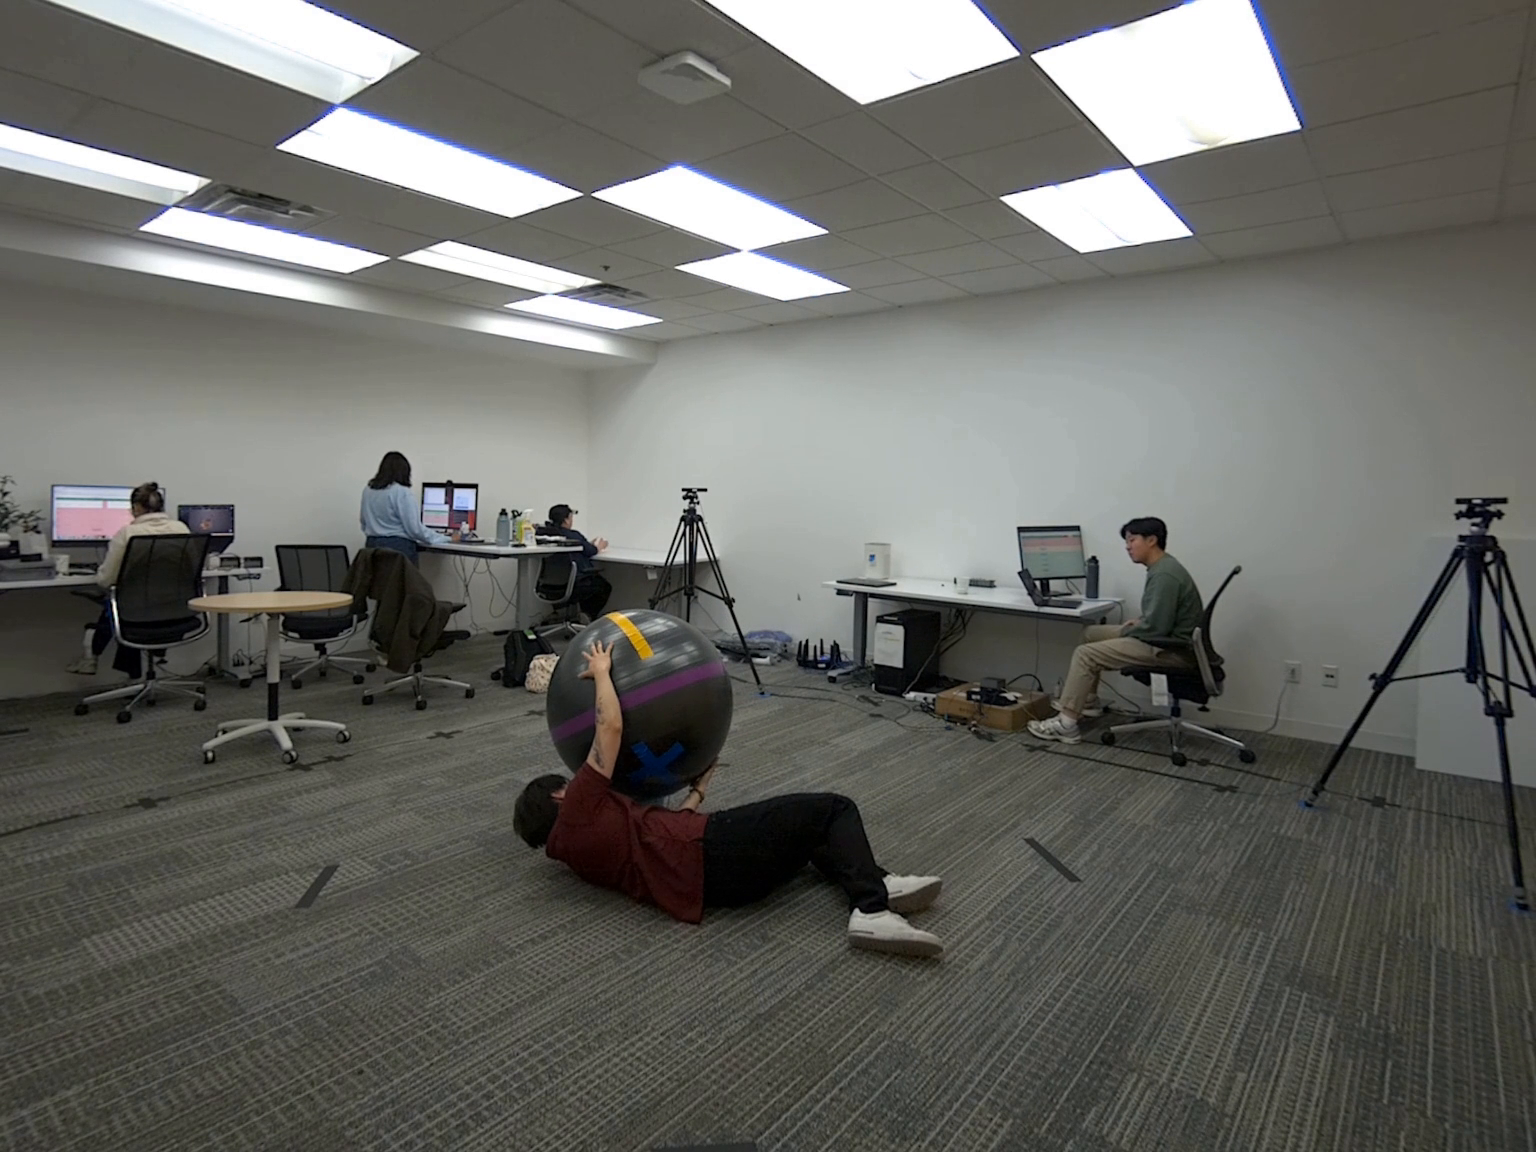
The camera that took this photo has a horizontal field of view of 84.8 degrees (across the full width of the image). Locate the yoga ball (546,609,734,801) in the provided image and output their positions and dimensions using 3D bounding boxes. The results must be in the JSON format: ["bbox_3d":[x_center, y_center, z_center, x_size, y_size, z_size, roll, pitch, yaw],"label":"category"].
[{"bbox_3d":[-0.537,0.521,3.473,0.757,0.755,0.762,1,4,-2],"label":"yoga ball"}]
